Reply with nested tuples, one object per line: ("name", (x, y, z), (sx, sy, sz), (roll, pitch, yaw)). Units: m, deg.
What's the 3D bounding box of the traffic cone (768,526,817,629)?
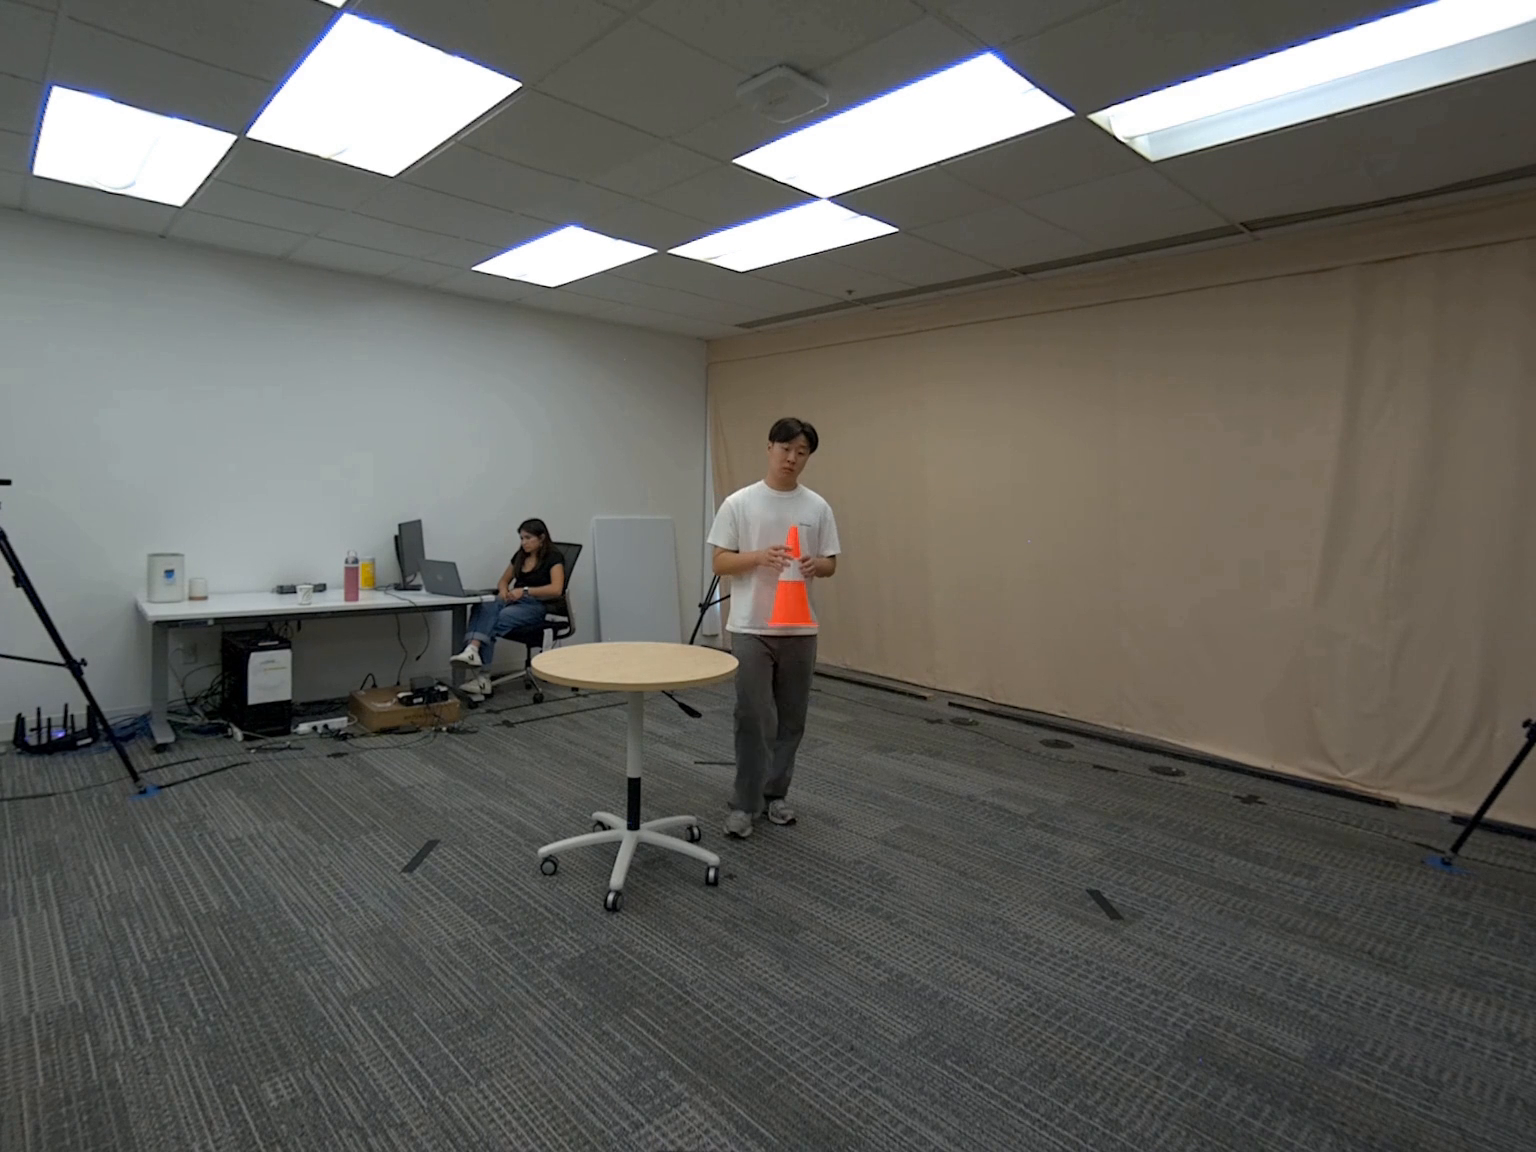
("traffic cone", (0.076, -0.003, 3.333), (0.201, 0.383, 0.208), (3, 3, -14))
